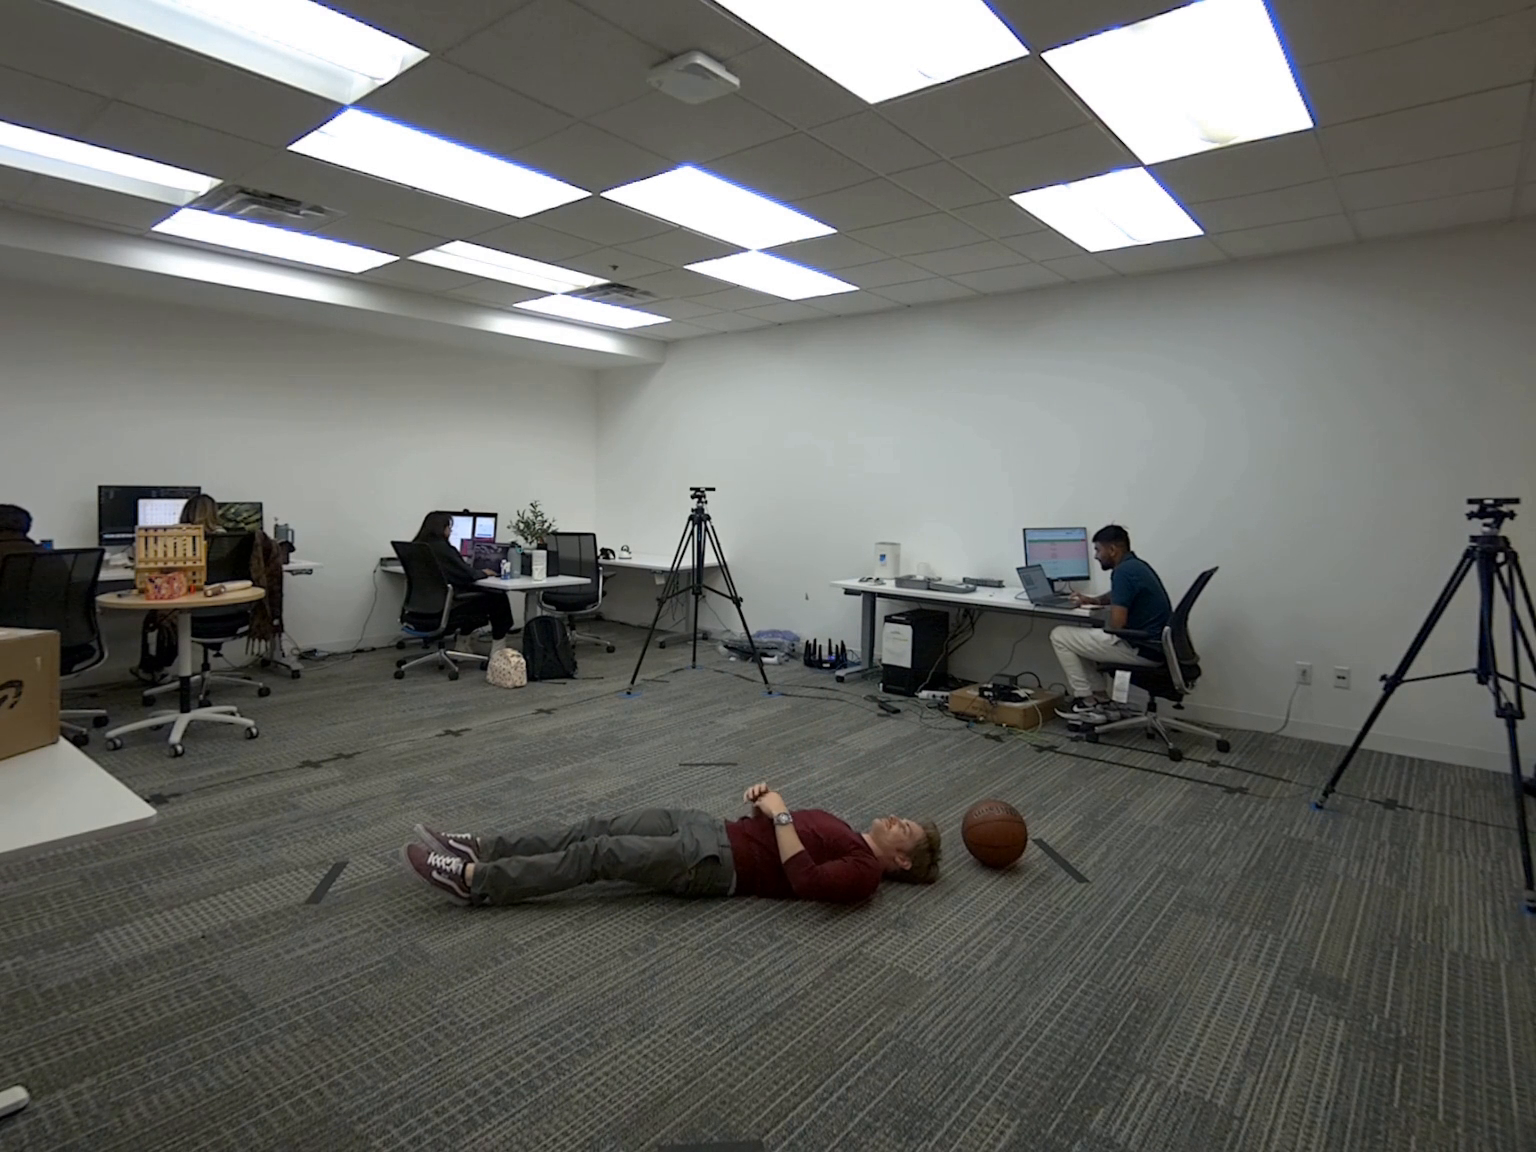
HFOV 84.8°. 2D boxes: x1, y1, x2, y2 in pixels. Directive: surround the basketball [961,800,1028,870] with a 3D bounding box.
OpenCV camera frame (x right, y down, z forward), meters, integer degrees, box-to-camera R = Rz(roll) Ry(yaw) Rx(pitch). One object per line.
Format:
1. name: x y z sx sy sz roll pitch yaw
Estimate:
1. basketball: 0.845 0.960 3.210 0.235 0.235 0.237 1 4 -2
